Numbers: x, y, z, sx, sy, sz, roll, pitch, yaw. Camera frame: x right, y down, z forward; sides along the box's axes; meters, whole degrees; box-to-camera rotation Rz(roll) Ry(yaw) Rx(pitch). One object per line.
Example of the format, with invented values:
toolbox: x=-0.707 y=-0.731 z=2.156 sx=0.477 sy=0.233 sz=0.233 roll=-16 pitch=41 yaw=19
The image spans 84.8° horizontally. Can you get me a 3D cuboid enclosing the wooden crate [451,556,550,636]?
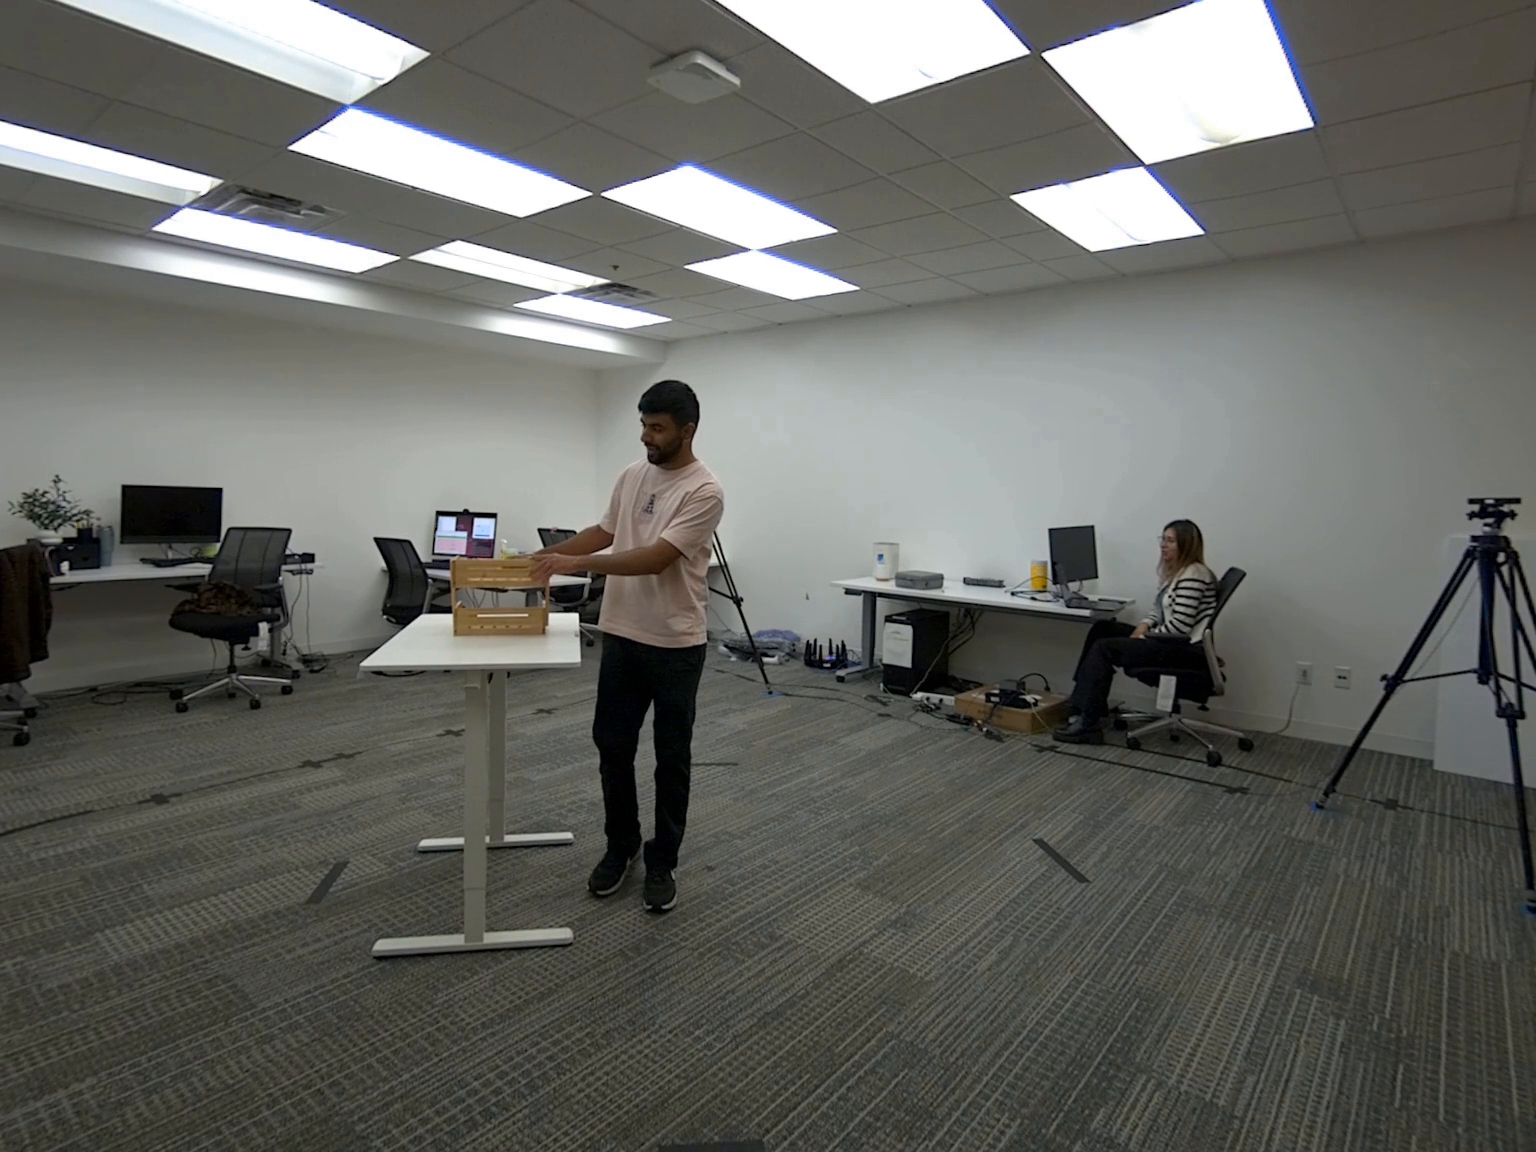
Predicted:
wooden crate: x=-0.946 y=0.055 z=2.968 sx=0.320 sy=0.272 sz=0.307 roll=0 pitch=6 yaw=-13
